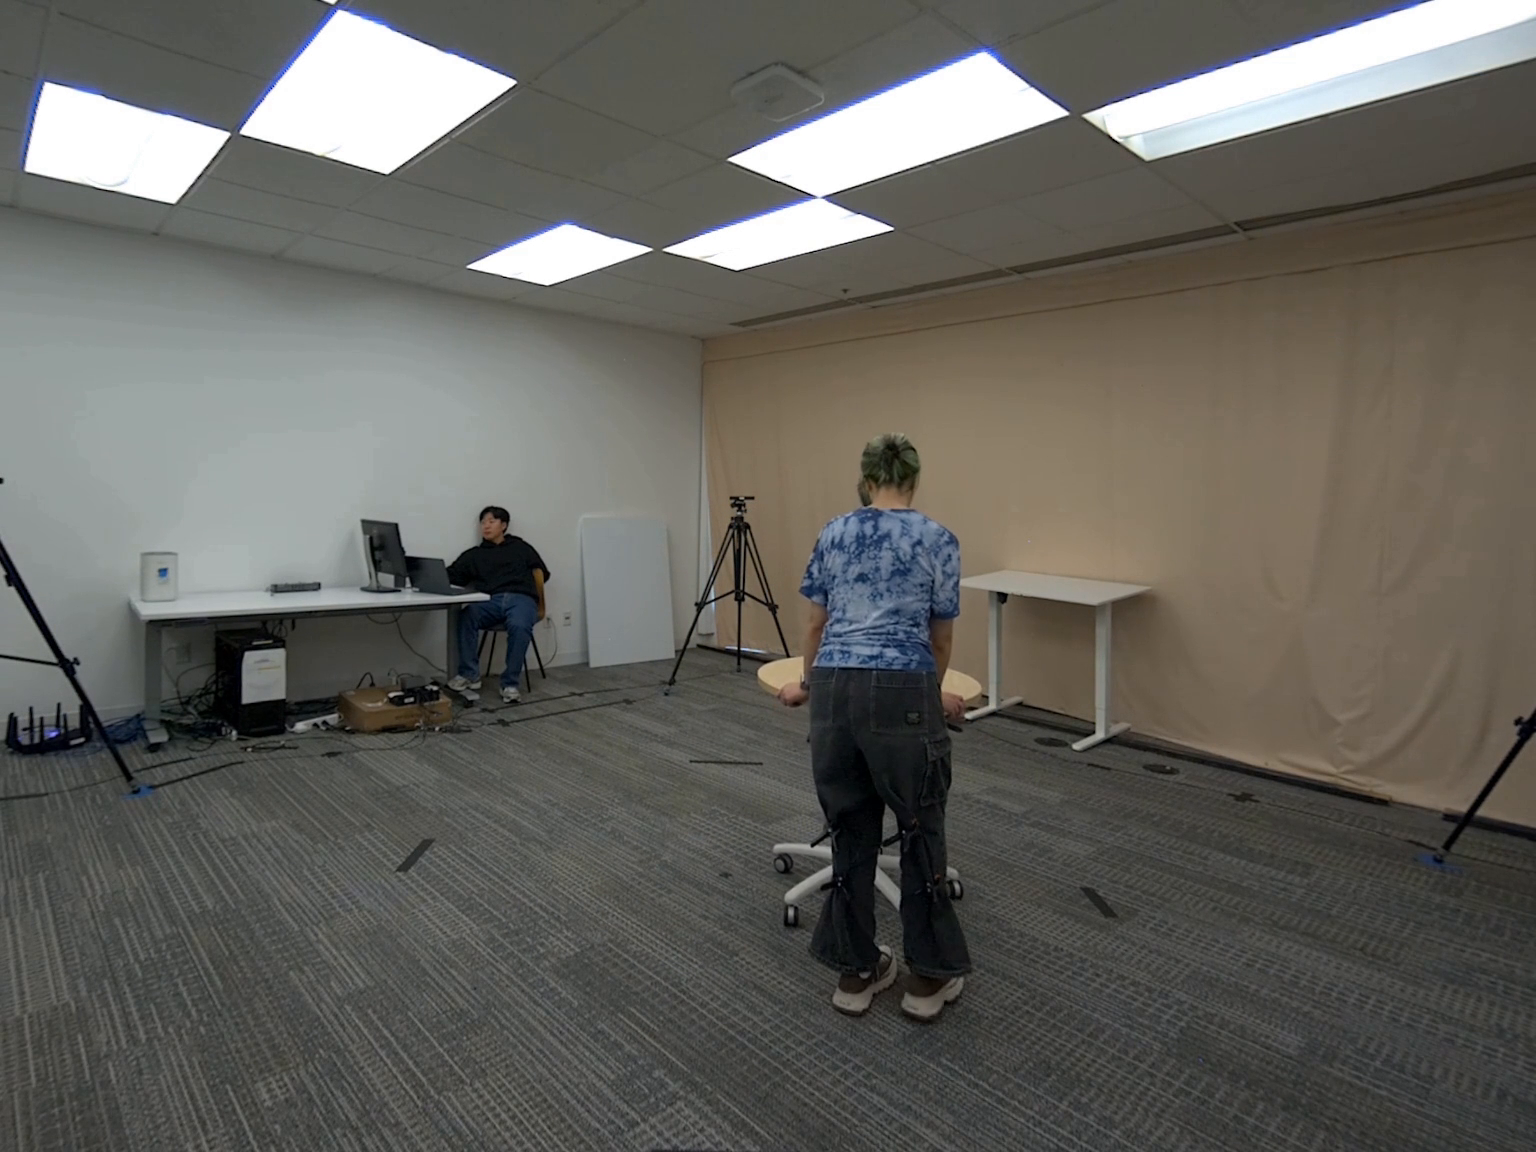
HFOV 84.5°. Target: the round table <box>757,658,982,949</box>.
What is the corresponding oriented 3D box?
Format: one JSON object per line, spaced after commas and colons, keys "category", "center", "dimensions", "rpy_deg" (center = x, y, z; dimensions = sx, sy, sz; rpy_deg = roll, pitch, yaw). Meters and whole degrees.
{"category": "round table", "center": [0.335, 0.747, 2.952], "dimensions": [0.763, 0.791, 0.767], "rpy_deg": [1, 5, -1]}
